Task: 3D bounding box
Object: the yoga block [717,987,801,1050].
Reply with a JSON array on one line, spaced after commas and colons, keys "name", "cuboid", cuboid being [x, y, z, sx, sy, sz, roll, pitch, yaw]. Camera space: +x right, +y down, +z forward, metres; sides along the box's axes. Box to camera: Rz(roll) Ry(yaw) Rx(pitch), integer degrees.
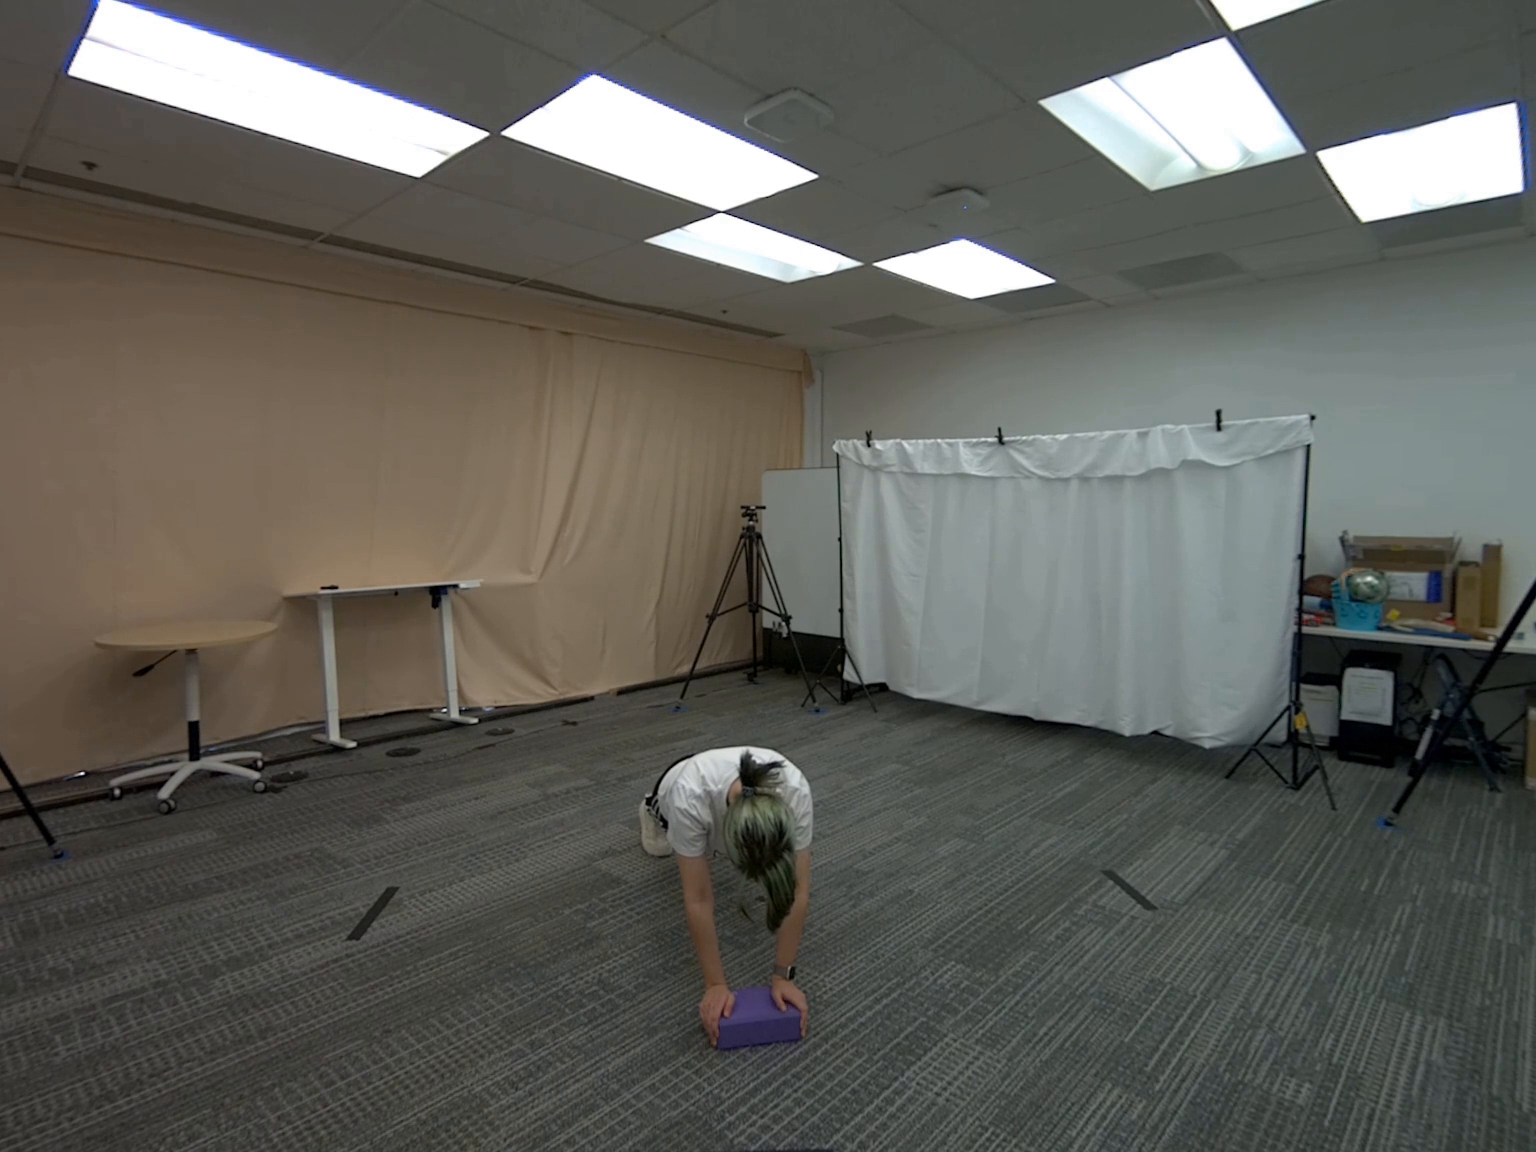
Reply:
[{"name": "yoga block", "cuboid": [-0.037, 1.168, 2.242, 0.227, 0.076, 0.151, 0, 4, -11]}]
